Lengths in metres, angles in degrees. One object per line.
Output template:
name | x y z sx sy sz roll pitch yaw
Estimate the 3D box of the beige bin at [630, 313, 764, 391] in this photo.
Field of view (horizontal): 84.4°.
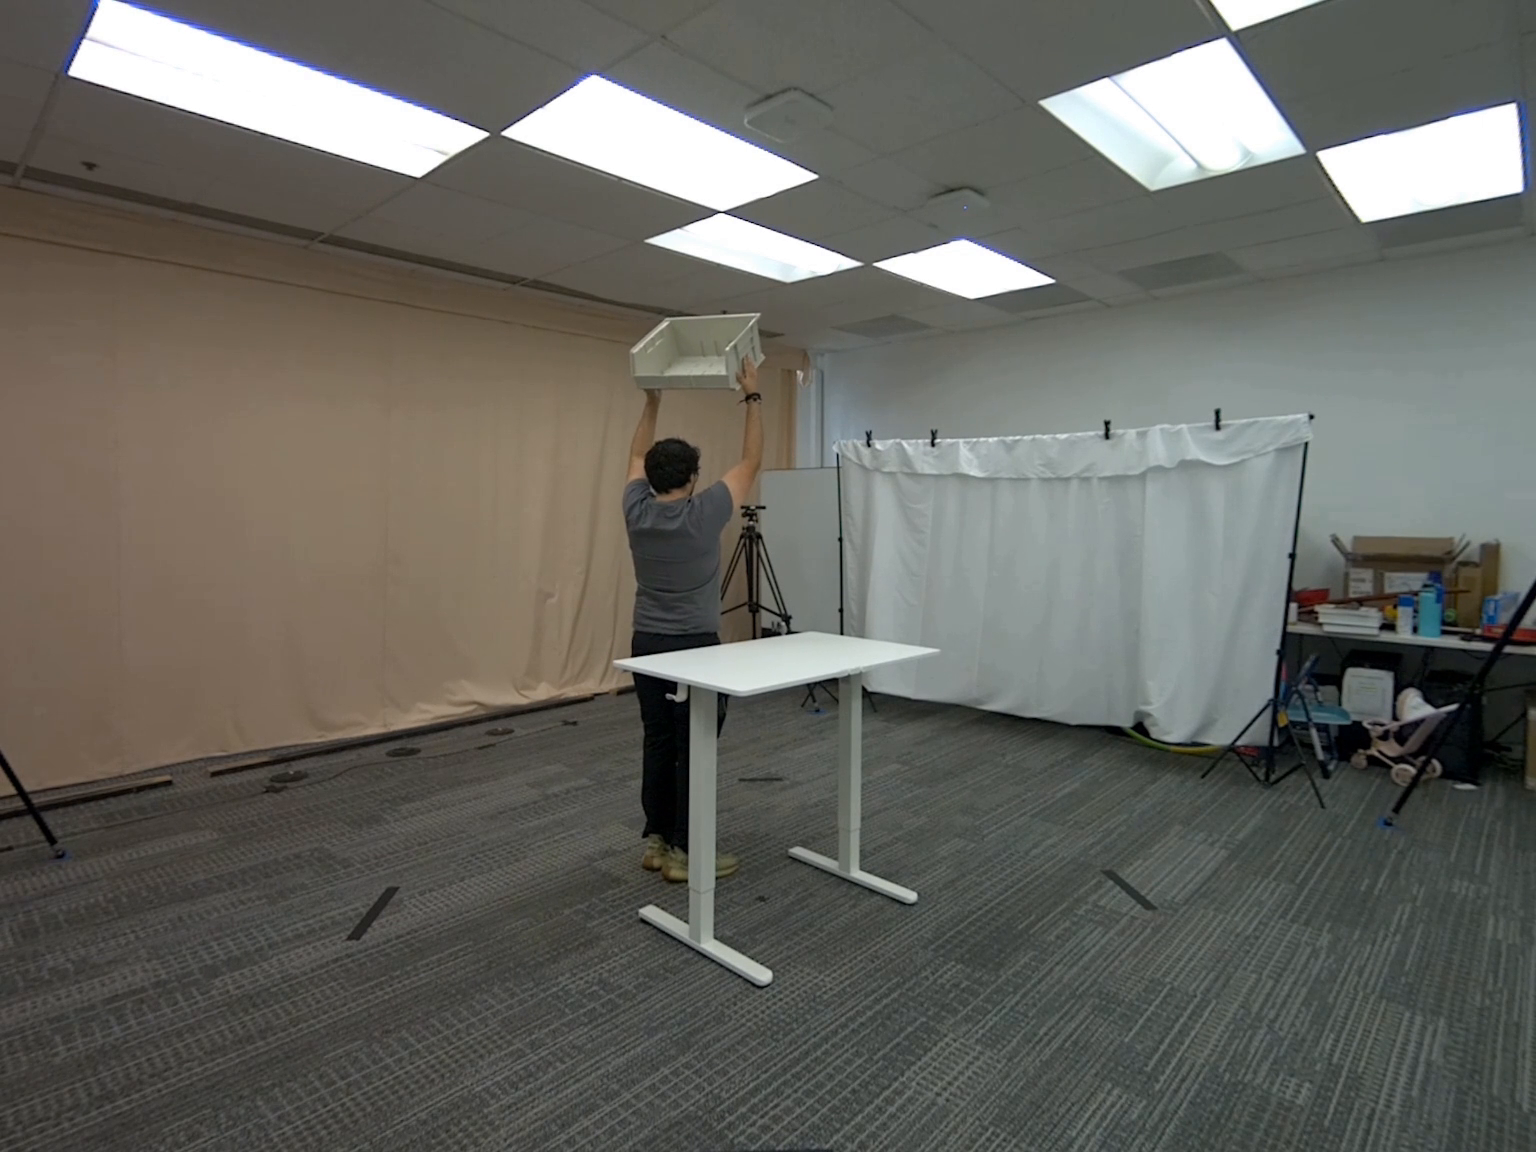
beige bin | -0.268 -0.867 3.322 0.433 0.185 0.377 4 37 23
